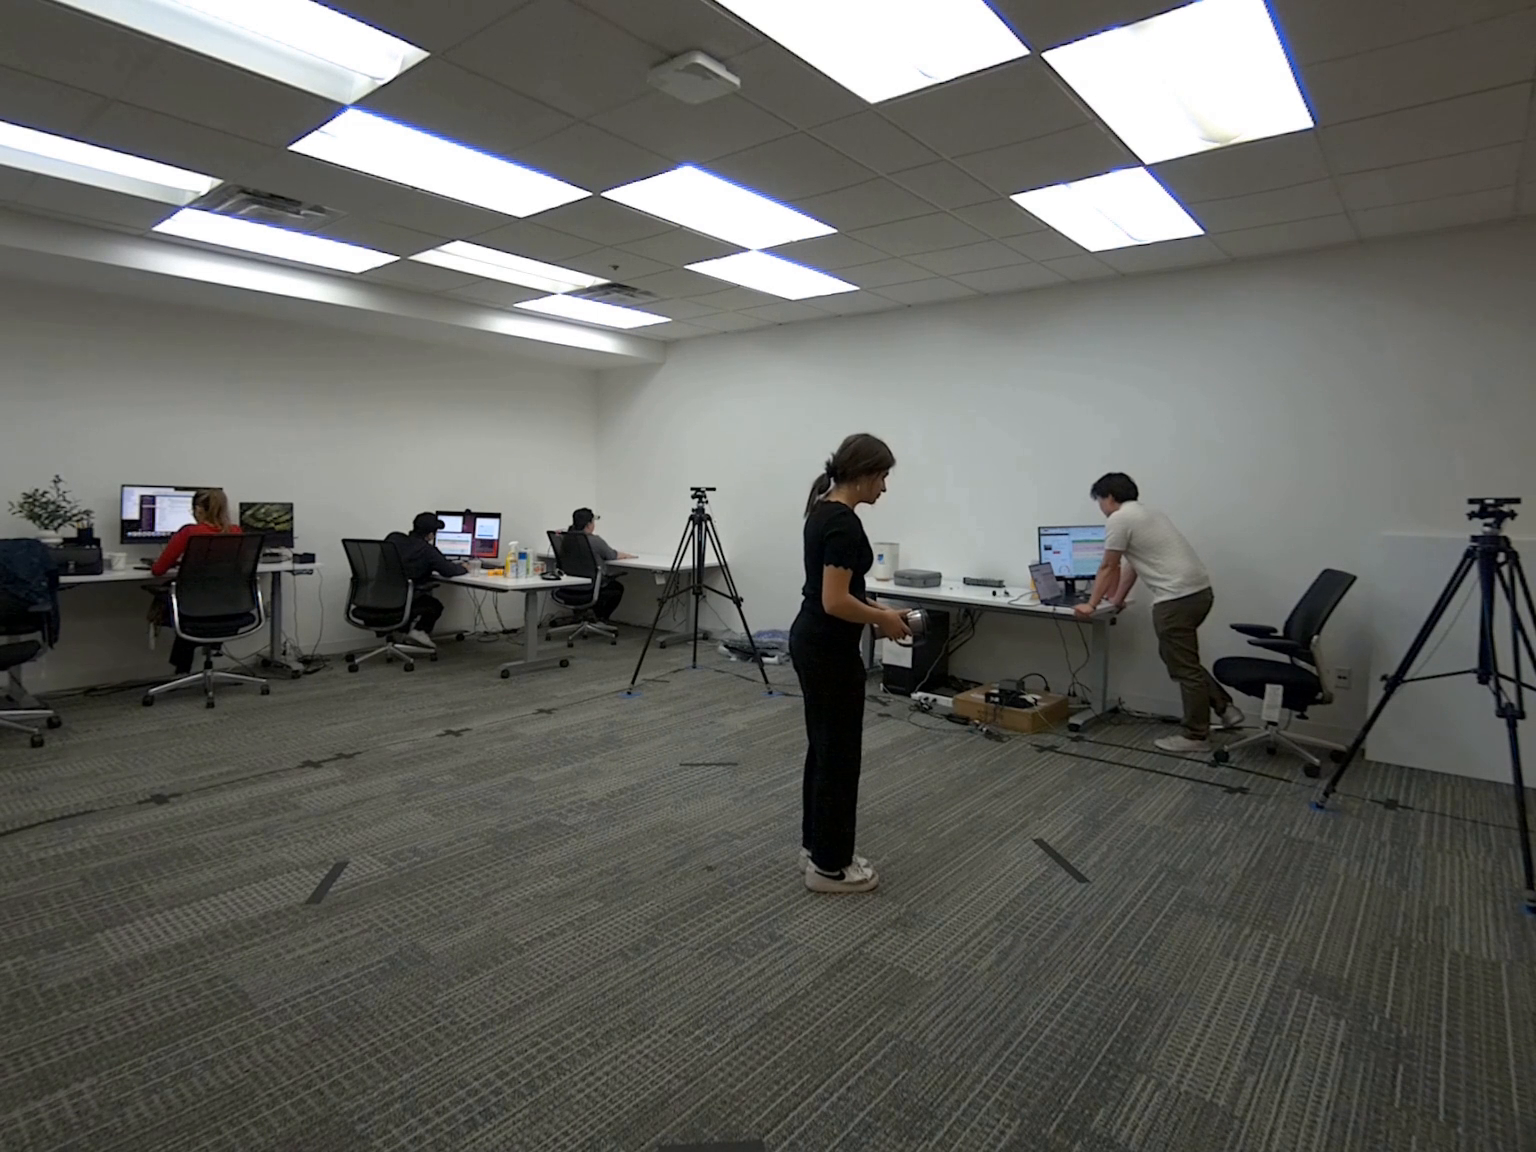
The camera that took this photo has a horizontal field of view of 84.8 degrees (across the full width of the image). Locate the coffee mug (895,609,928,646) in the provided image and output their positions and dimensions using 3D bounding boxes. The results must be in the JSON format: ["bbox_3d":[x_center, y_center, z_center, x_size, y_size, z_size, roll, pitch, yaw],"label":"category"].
[{"bbox_3d":[0.454,0.189,2.998,0.203,0.126,0.085,-12,-34,2],"label":"coffee mug"}]
